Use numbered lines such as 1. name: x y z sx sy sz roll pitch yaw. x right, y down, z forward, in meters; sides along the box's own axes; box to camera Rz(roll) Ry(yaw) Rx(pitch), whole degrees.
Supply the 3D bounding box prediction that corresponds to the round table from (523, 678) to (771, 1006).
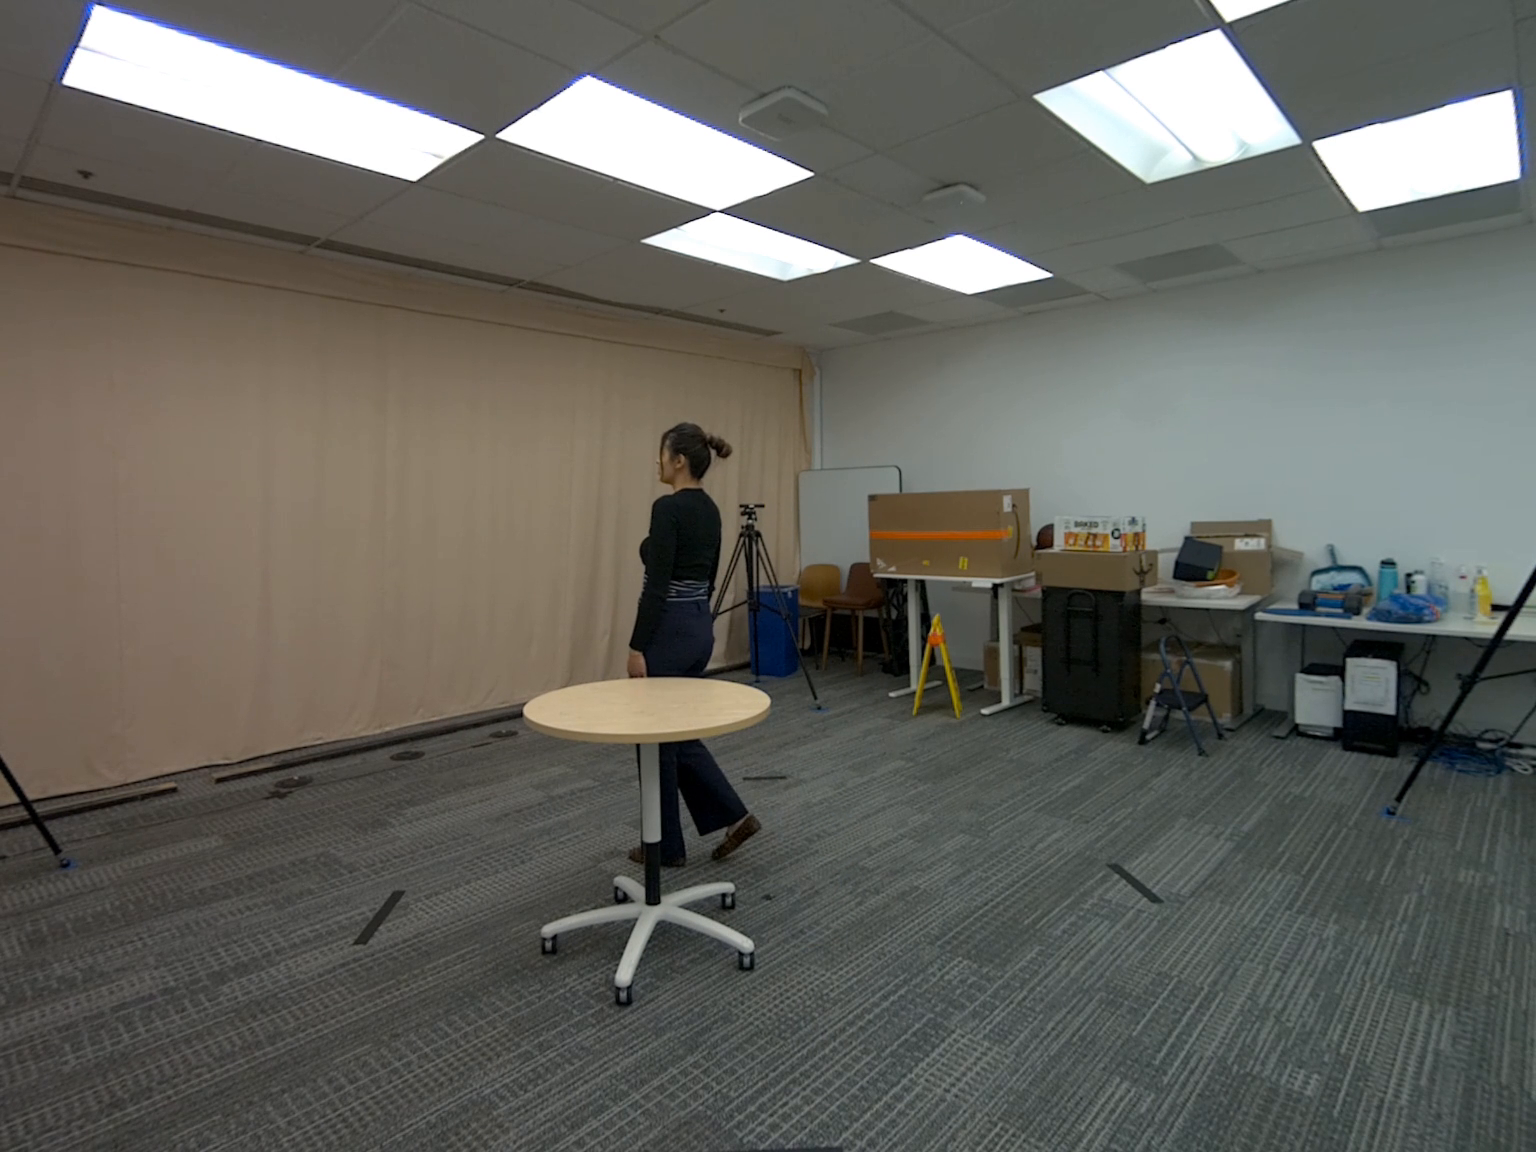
1. round table: -0.368 0.787 2.654 0.763 0.792 0.766 -1 4 -2
